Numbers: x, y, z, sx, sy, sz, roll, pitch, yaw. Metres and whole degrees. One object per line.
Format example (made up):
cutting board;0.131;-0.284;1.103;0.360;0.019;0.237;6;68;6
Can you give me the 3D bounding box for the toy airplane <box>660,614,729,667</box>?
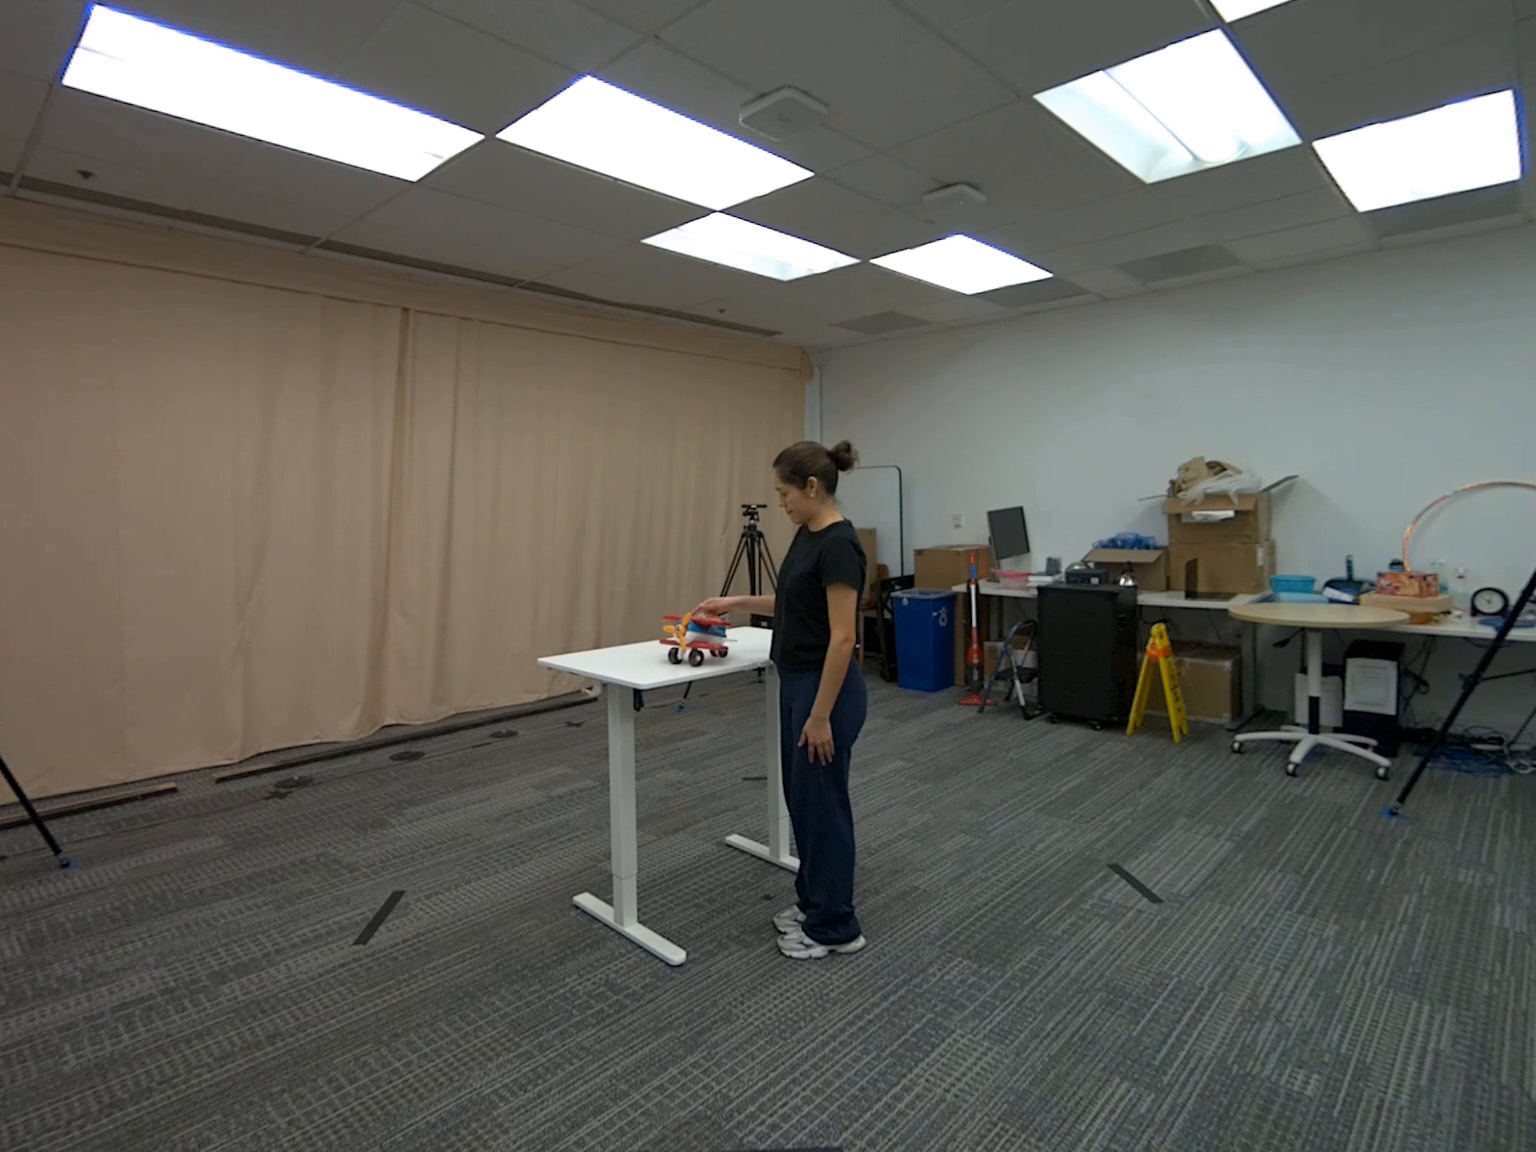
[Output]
toy airplane;-0.217;0.206;2.780;0.253;0.156;0.258;-1;5;6
